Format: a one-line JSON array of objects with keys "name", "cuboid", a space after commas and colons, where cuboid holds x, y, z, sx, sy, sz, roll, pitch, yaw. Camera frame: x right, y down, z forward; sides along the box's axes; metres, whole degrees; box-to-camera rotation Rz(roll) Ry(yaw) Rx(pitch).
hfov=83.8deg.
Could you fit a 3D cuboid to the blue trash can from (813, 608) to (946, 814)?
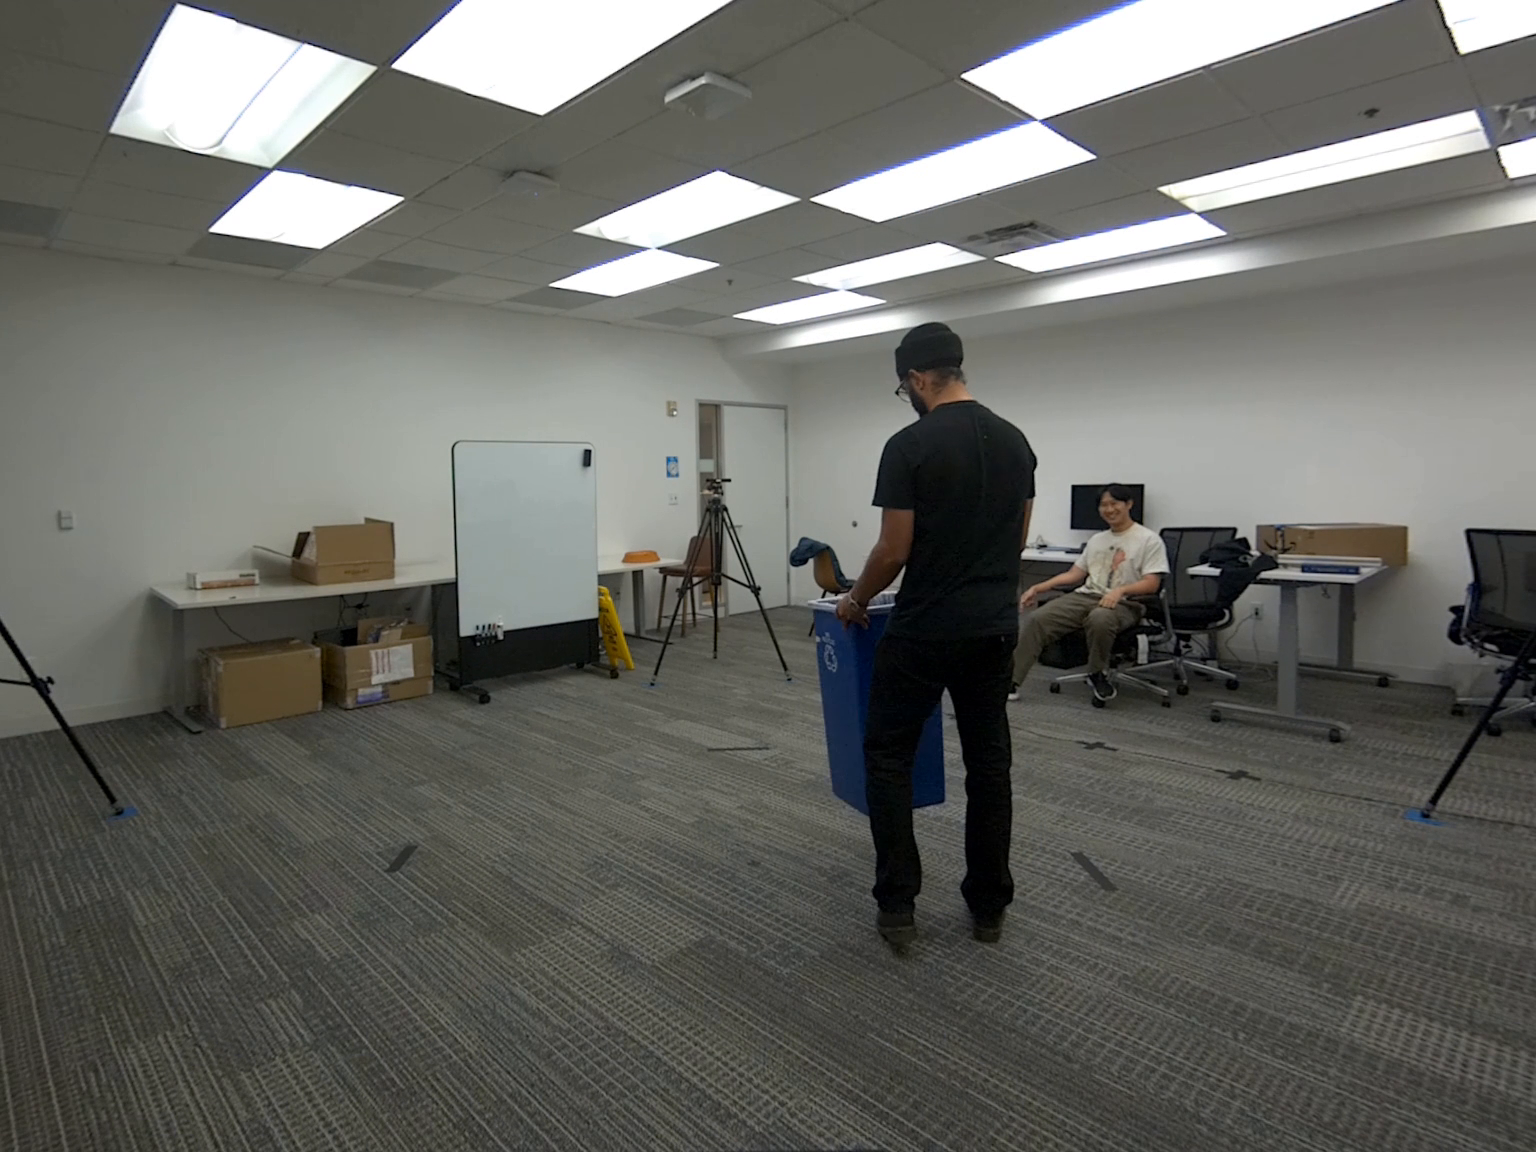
[{"name": "blue trash can", "cuboid": [0.405, 0.443, 3.036, 0.372, 0.713, 0.380, -5, 1, -20]}]
